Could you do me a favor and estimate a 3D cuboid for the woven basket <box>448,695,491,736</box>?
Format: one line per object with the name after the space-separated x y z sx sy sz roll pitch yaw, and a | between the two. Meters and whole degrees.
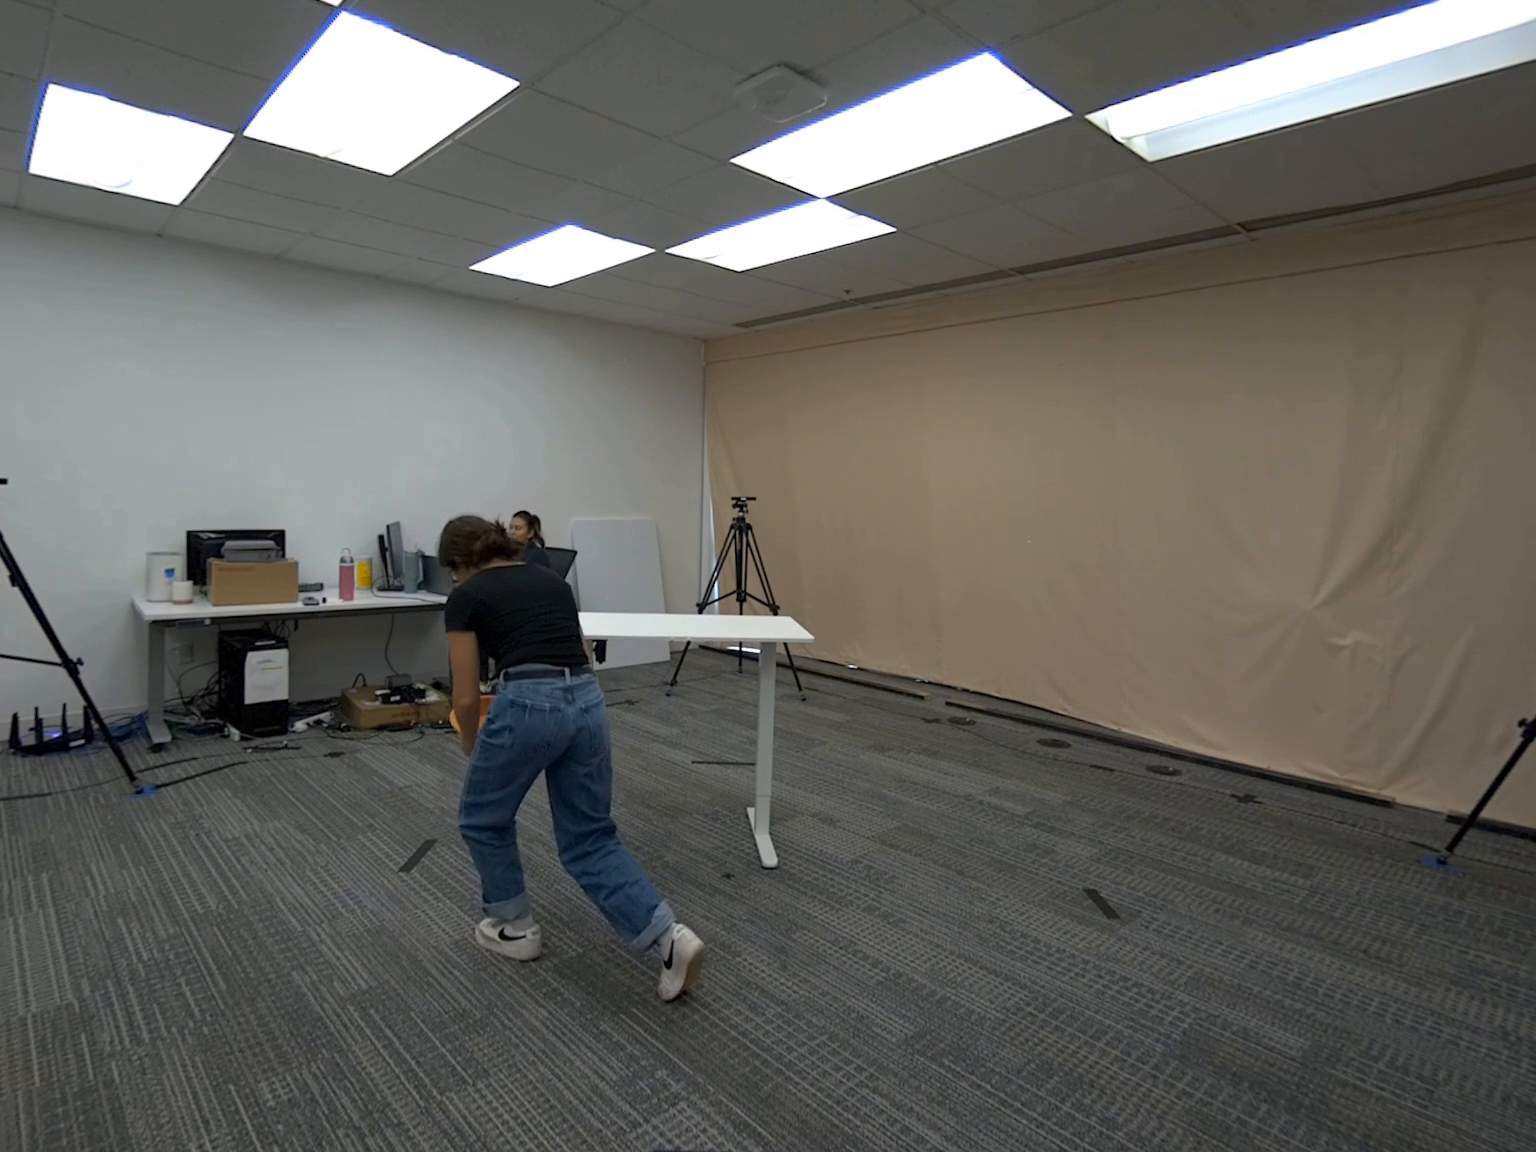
-0.891 0.526 2.748 0.247 0.072 0.362 -10 29 -39 | woven basket
